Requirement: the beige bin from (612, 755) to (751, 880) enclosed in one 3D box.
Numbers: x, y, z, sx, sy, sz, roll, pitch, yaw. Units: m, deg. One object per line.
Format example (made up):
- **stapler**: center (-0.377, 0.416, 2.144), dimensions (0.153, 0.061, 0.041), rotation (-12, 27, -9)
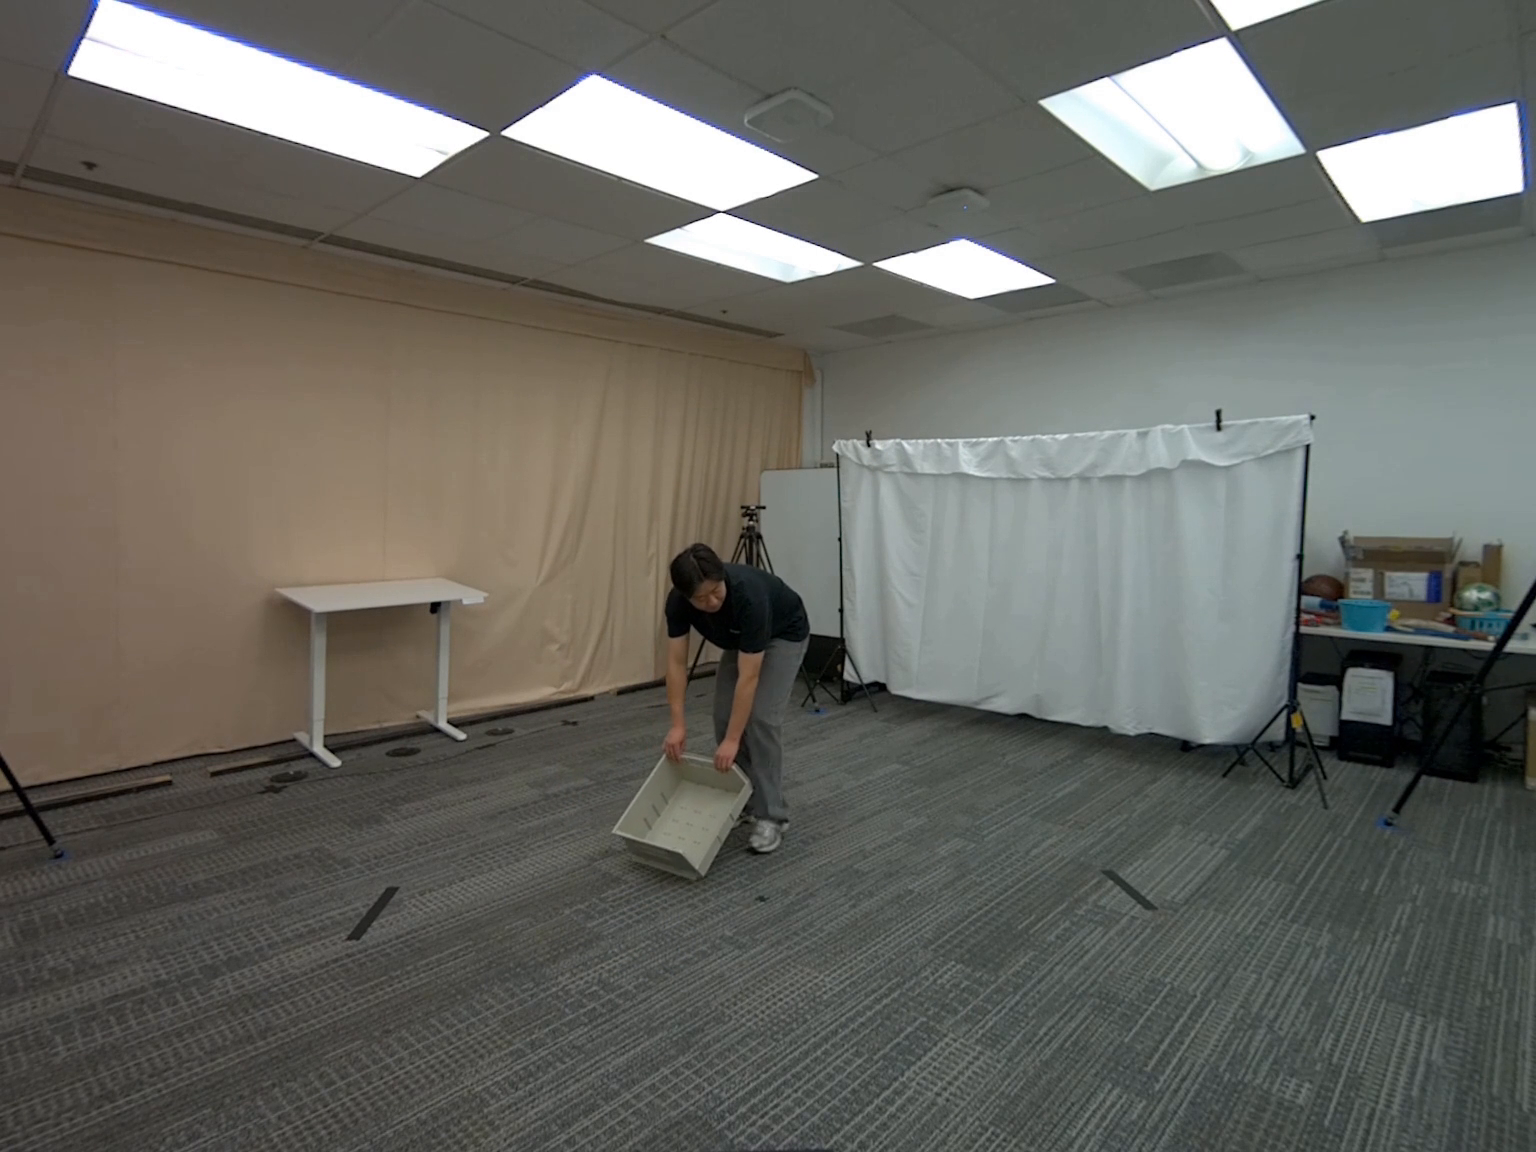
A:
- **beige bin**: center (-0.317, 0.924, 3.295), dimensions (0.389, 0.184, 0.420), rotation (1, 40, 35)
